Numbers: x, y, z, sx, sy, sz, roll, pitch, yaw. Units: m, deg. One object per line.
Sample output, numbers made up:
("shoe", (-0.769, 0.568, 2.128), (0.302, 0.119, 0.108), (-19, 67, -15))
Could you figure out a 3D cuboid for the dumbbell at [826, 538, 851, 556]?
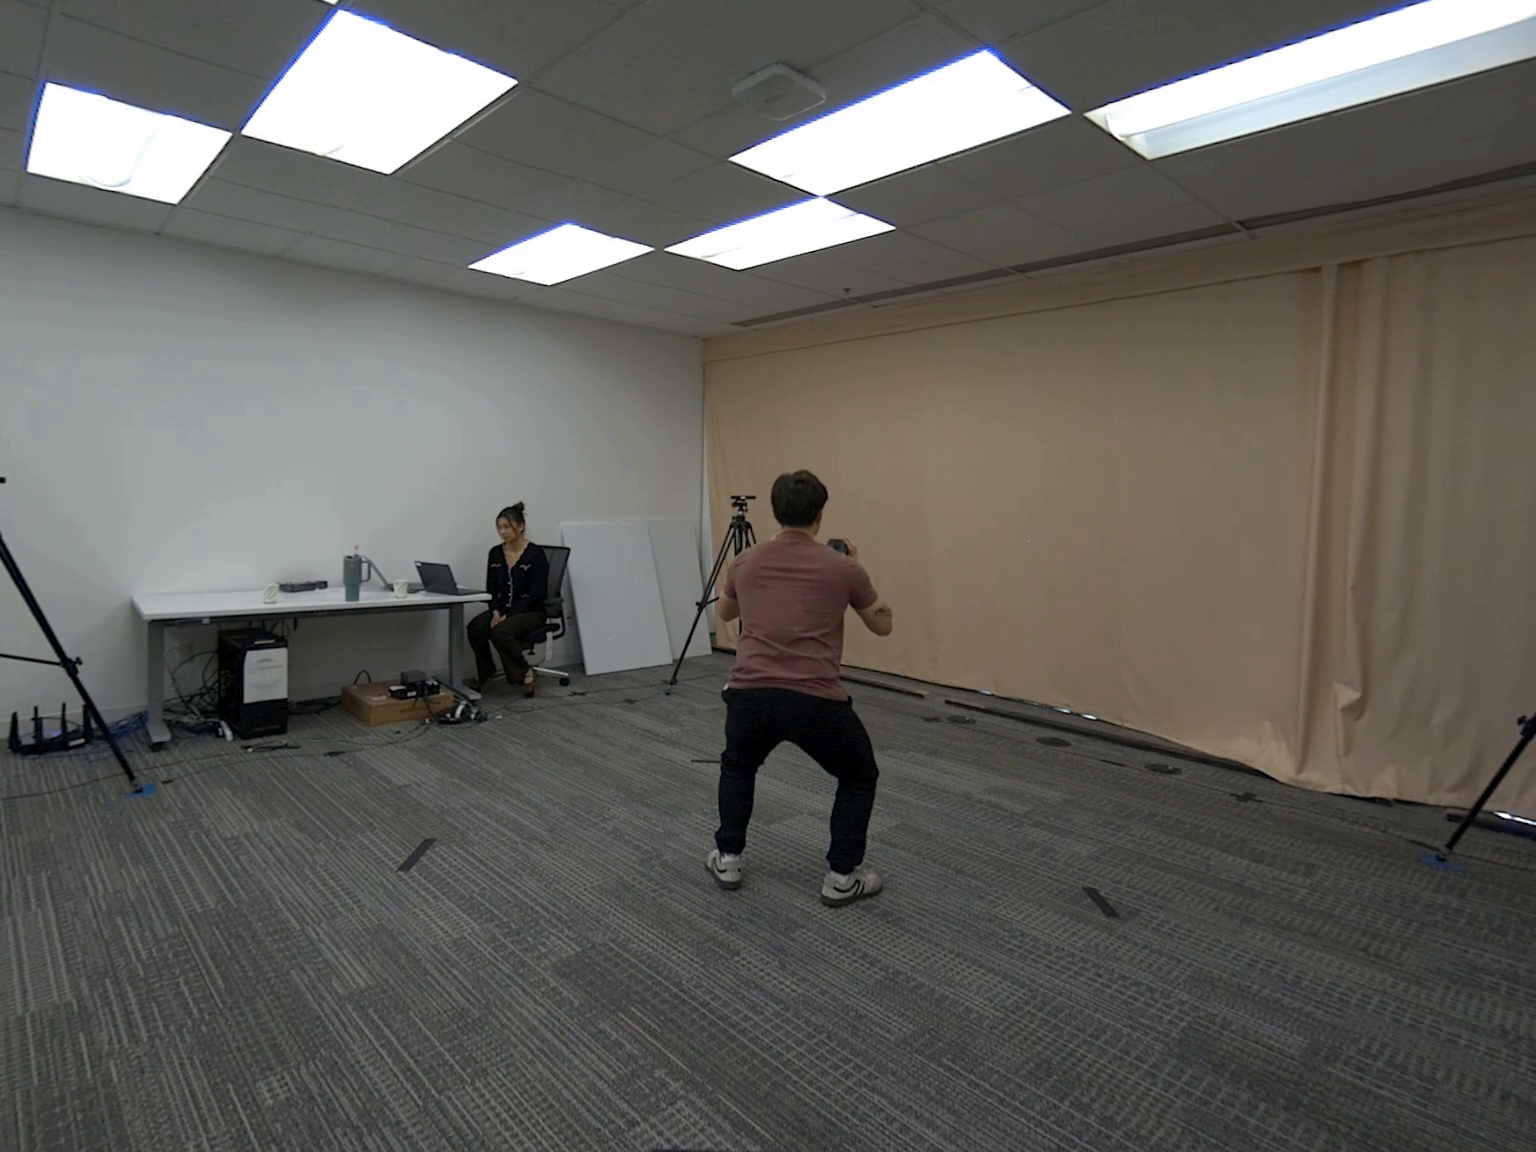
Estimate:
("dumbbell", (0.166, -0.078, 3.188), (0.297, 0.109, 0.121), (1, -5, 15))
